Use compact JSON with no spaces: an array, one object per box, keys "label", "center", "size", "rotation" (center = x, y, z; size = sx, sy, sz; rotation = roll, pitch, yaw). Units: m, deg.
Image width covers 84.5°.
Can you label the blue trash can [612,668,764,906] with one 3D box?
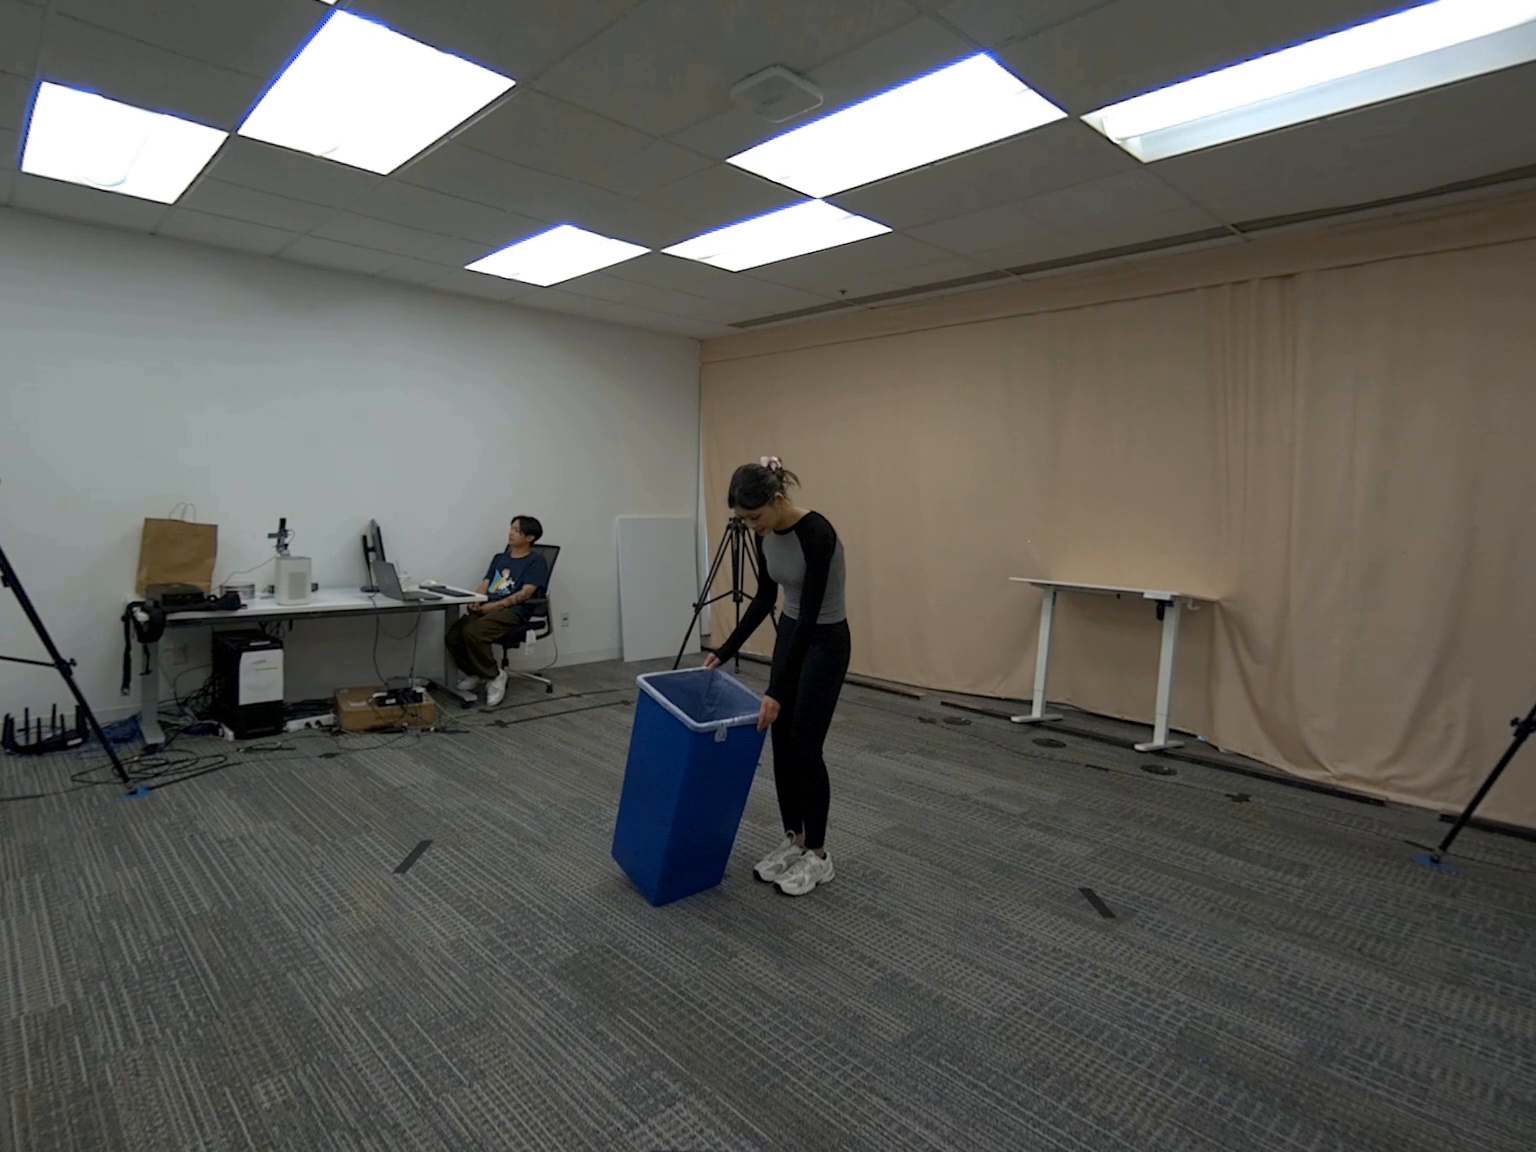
[{"label":"blue trash can","center":[-0.297,0.732,2.955],"size":[0.369,0.708,0.386],"rotation":[0,21,-42]}]
